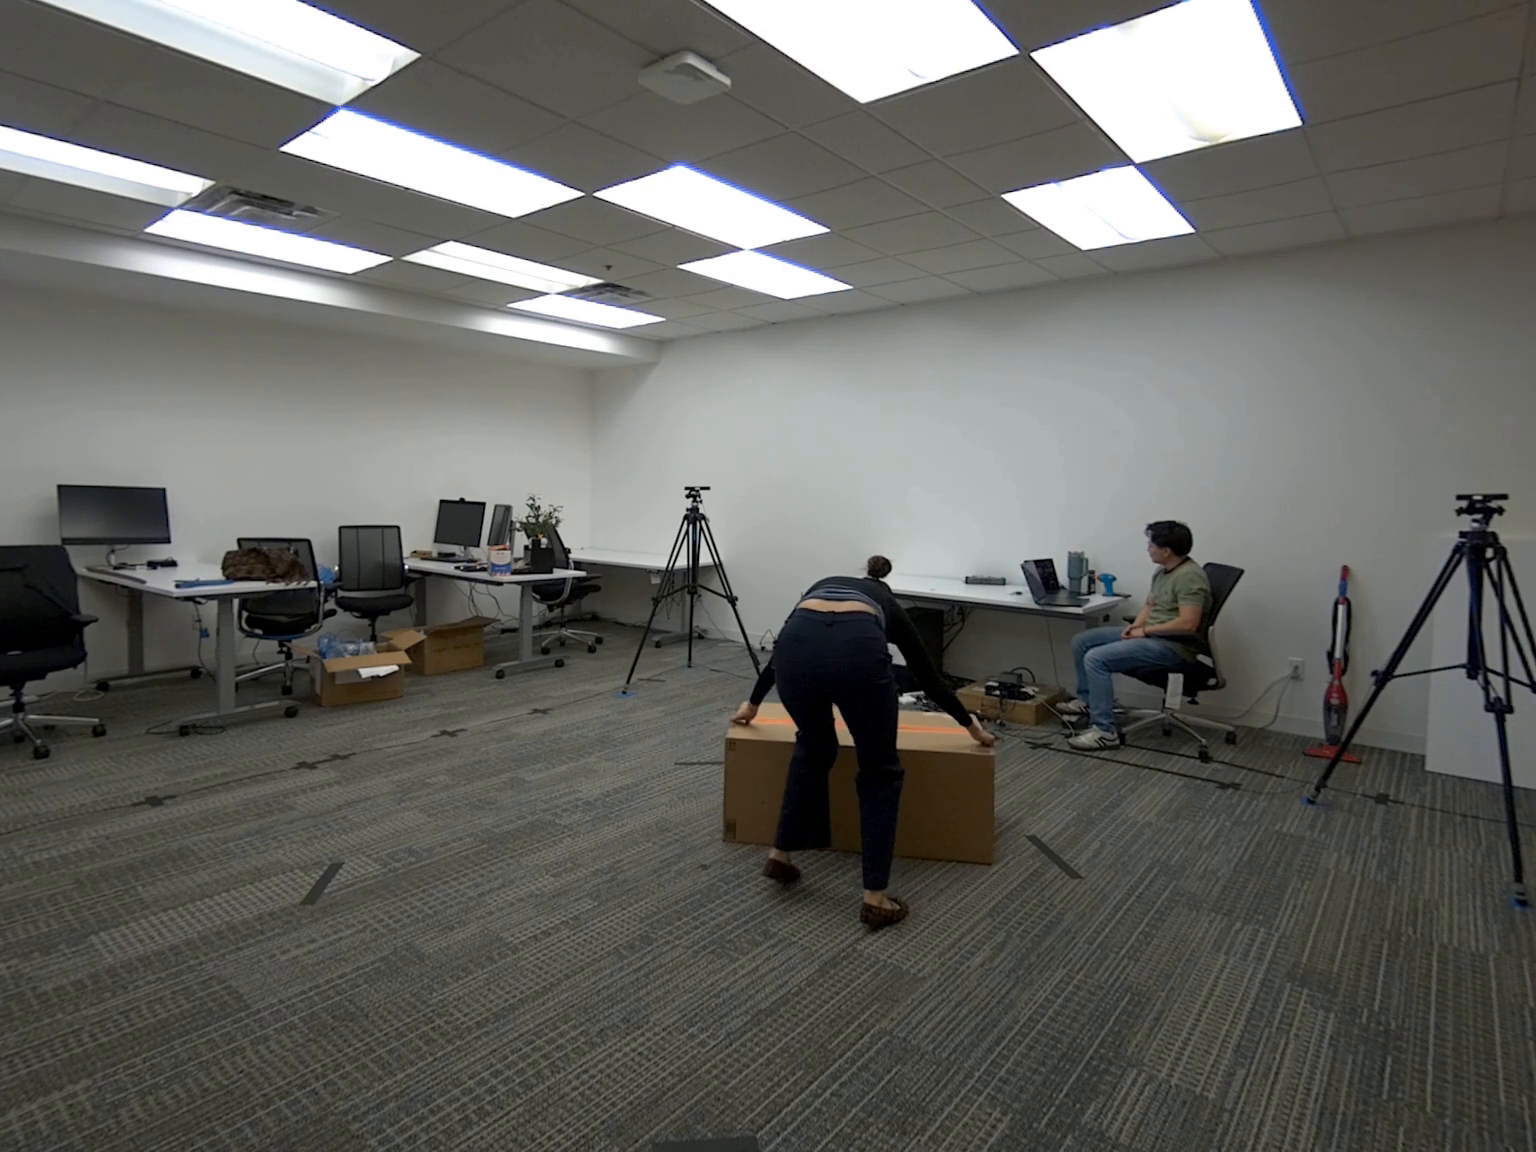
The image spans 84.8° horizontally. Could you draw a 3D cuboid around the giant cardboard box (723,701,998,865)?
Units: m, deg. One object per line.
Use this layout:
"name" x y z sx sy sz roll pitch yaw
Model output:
"giant cardboard box" 0.351 0.817 3.526 1.036 0.425 0.574 1 4 8
